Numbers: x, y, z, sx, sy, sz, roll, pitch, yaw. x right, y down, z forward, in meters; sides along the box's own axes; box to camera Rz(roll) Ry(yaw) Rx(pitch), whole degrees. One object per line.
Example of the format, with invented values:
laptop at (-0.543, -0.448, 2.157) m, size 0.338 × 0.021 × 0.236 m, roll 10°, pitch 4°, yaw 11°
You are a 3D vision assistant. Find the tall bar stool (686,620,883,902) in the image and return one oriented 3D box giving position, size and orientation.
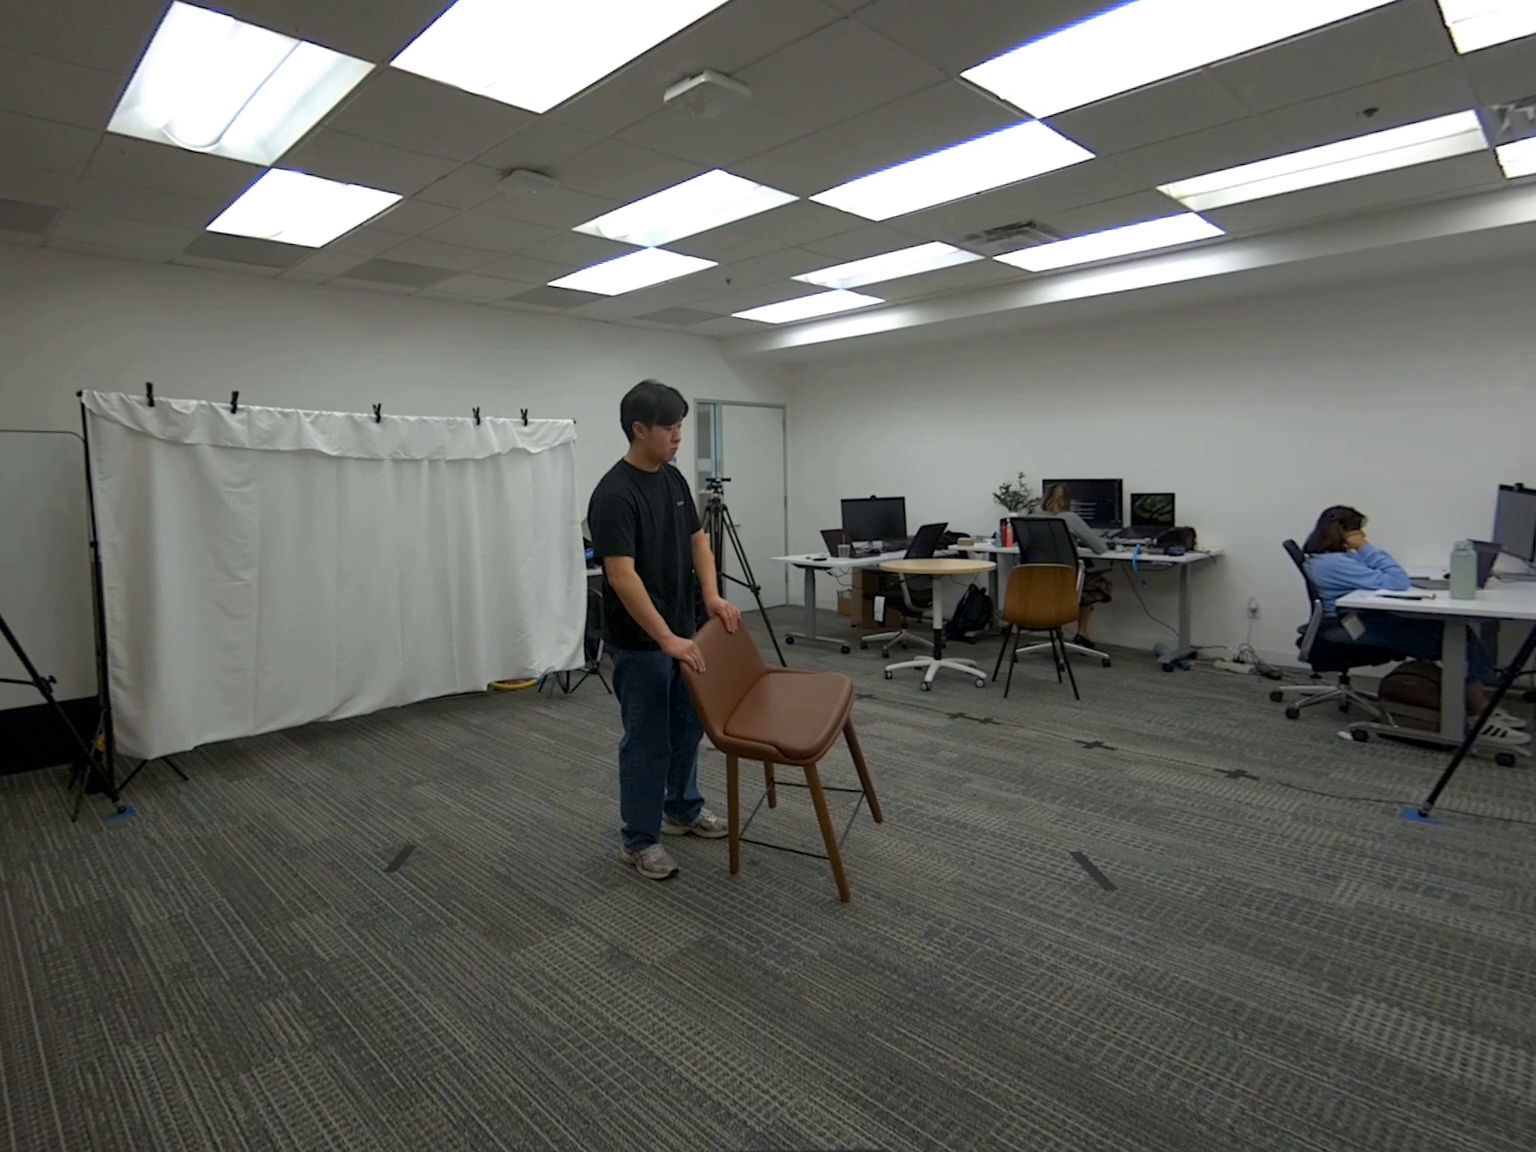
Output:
tall bar stool at (0.061, 0.589, 2.920) m, size 0.479 × 0.871 × 0.455 m, roll -1°, pitch 23°, yaw 29°
